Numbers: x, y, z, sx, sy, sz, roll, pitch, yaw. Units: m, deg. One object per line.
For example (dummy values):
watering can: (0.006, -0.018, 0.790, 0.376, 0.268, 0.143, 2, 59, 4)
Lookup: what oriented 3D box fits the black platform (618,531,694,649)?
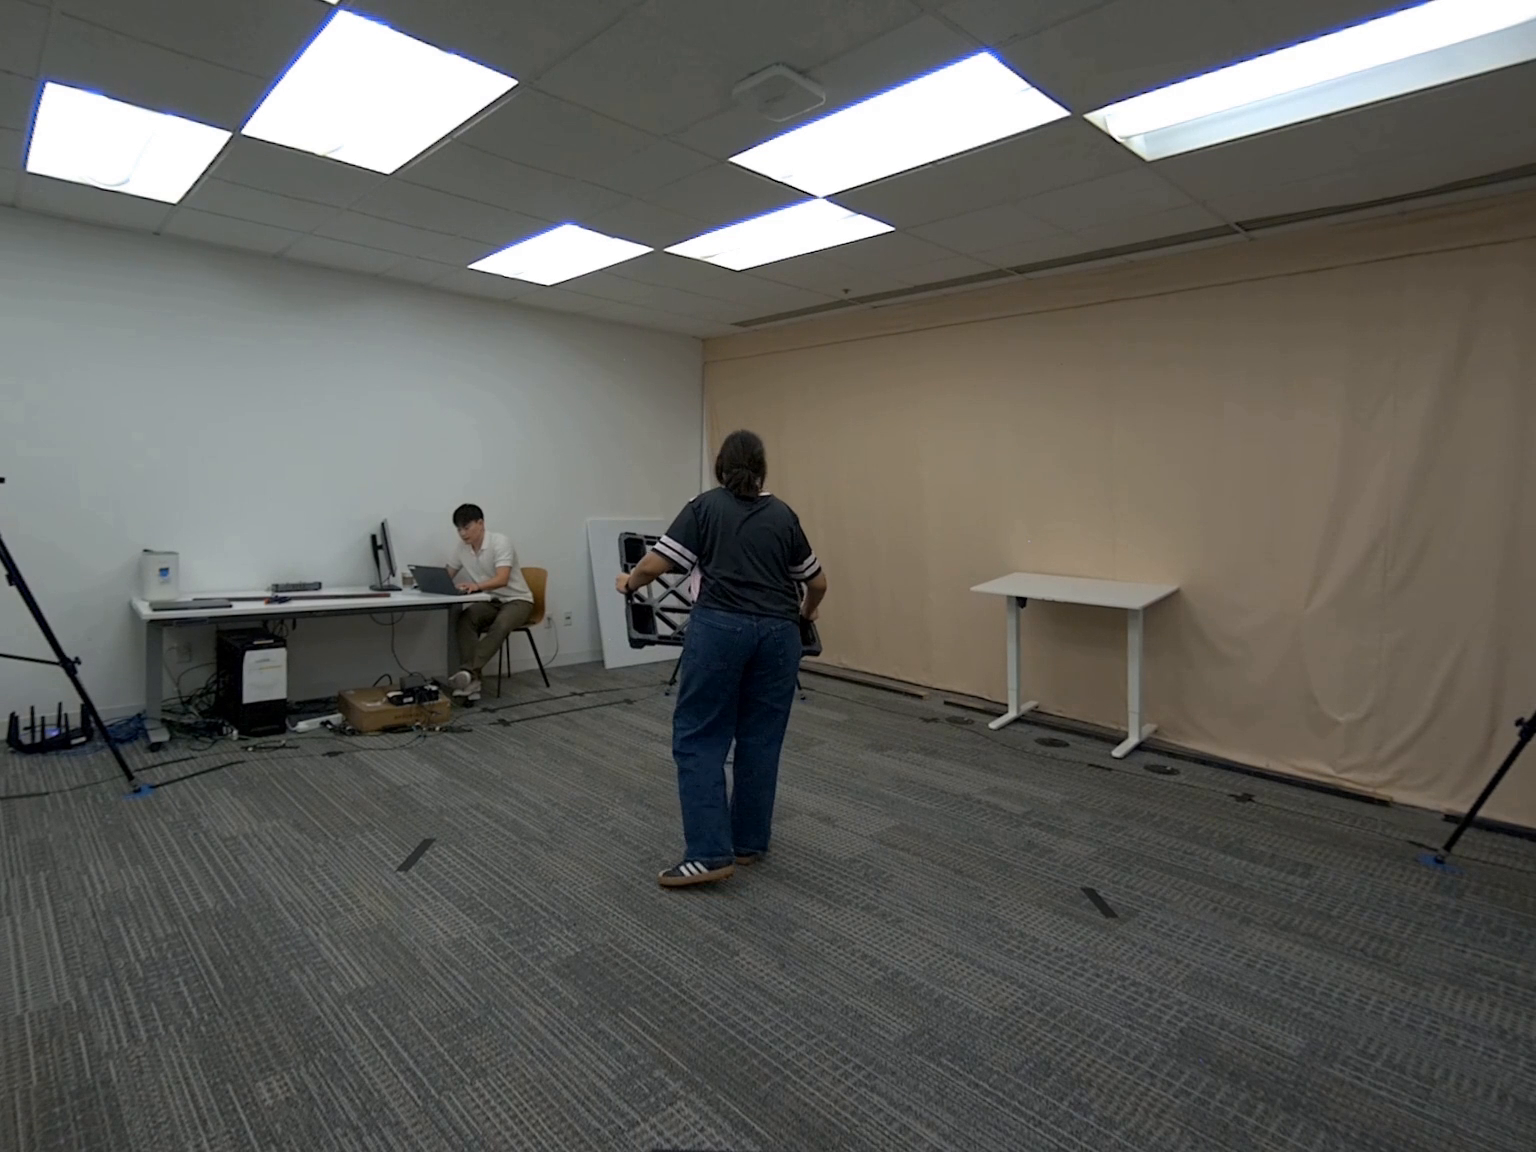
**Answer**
black platform: (-0.232, 0.110, 3.534, 0.792, 0.142, 0.622, 6, 43, -20)
